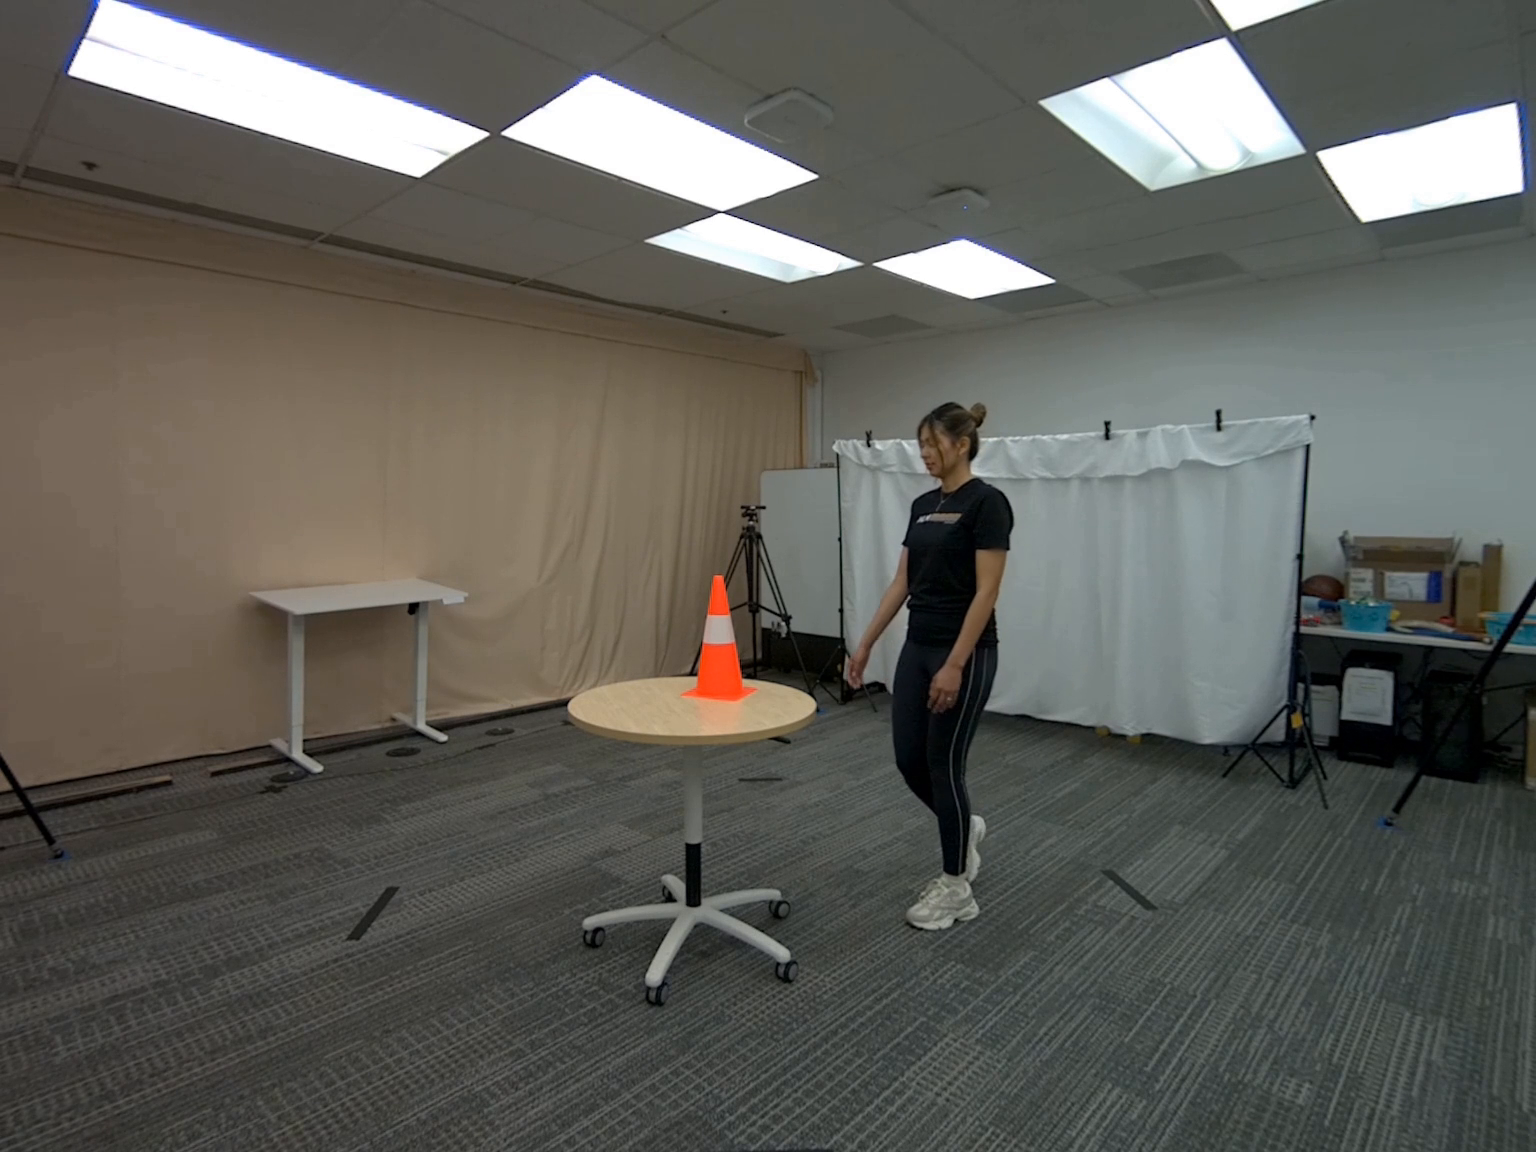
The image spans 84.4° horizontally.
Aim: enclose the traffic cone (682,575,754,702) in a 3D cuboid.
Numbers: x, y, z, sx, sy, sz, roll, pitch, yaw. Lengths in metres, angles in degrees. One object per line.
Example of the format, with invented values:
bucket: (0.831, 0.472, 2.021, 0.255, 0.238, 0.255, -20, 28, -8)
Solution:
traffic cone: (-0.157, 0.197, 2.741, 0.208, 0.383, 0.200, -1, 2, 25)
